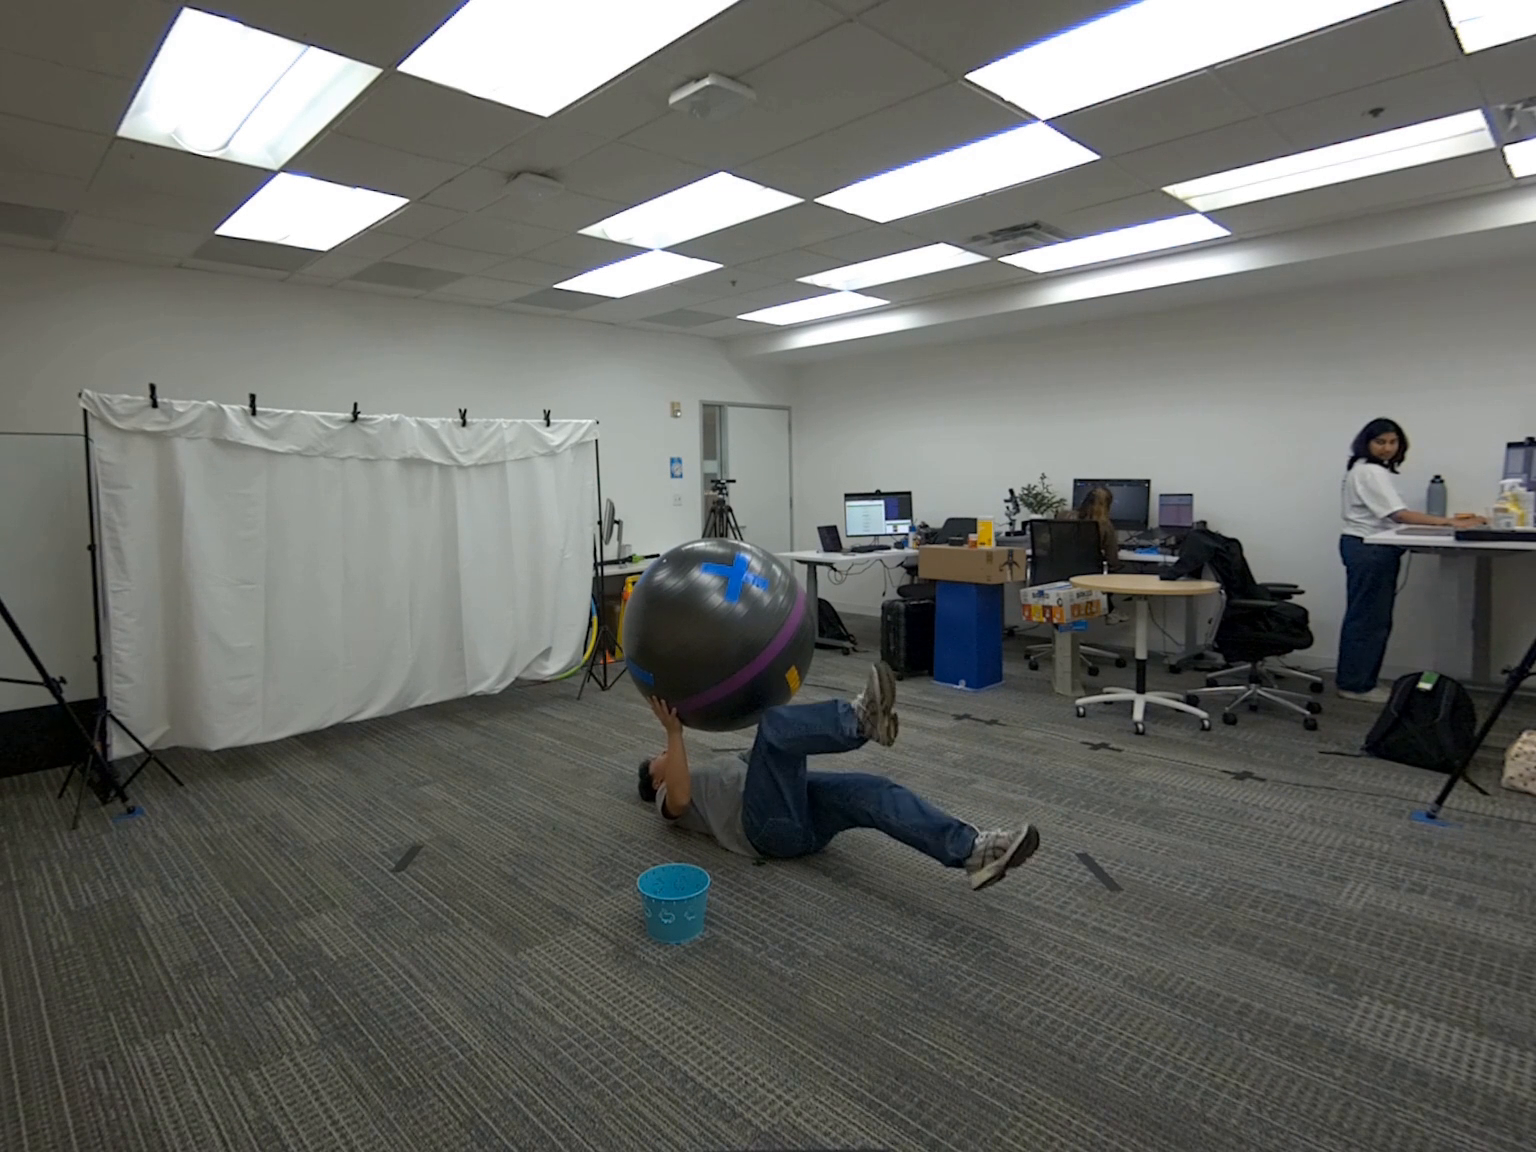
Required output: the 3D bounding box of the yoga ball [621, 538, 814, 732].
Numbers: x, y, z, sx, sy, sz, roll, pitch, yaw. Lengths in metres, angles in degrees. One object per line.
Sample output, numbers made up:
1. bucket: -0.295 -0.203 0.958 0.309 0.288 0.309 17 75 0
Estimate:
1. yoga ball: -0.202 0.237 3.367 0.757 0.755 0.762 -1 5 -2
